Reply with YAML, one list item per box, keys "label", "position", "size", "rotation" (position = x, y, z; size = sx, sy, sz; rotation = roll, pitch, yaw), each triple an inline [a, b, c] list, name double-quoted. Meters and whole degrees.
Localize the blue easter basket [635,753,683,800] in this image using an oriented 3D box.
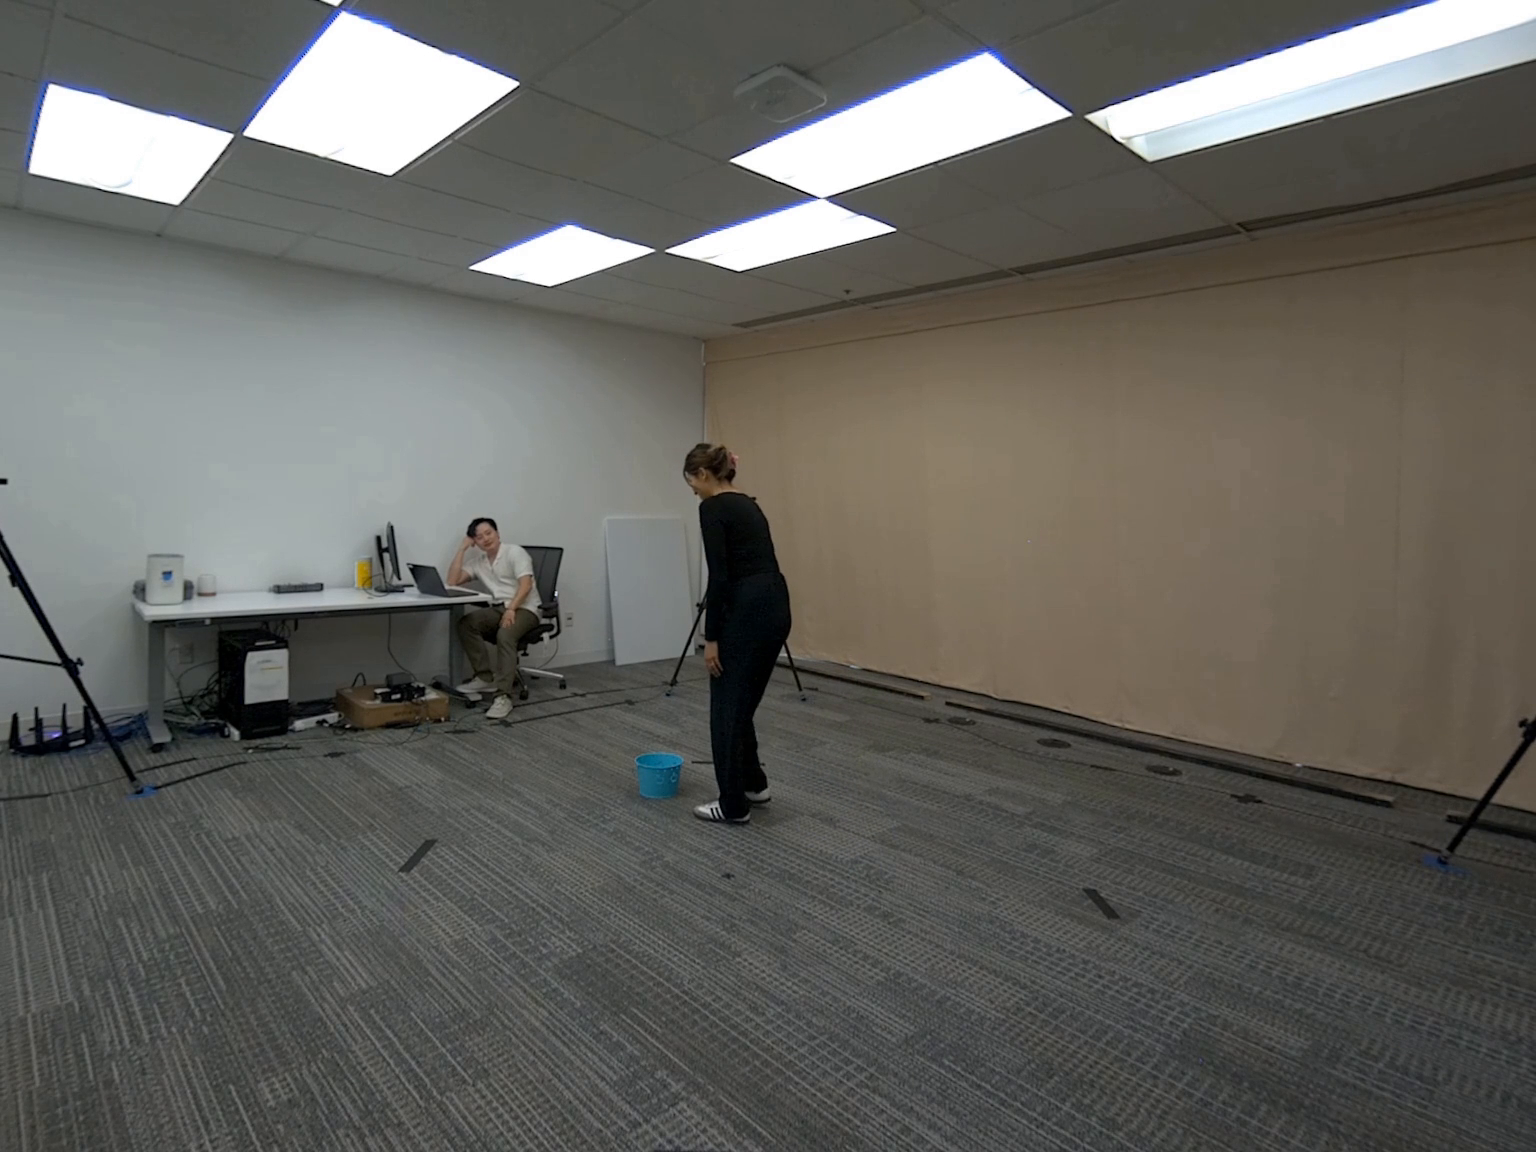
- label: "blue easter basket"
  position: [-0.522, 0.942, 3.994]
  size: [0.243, 0.155, 0.244]
  rotation: [2, 5, -1]
